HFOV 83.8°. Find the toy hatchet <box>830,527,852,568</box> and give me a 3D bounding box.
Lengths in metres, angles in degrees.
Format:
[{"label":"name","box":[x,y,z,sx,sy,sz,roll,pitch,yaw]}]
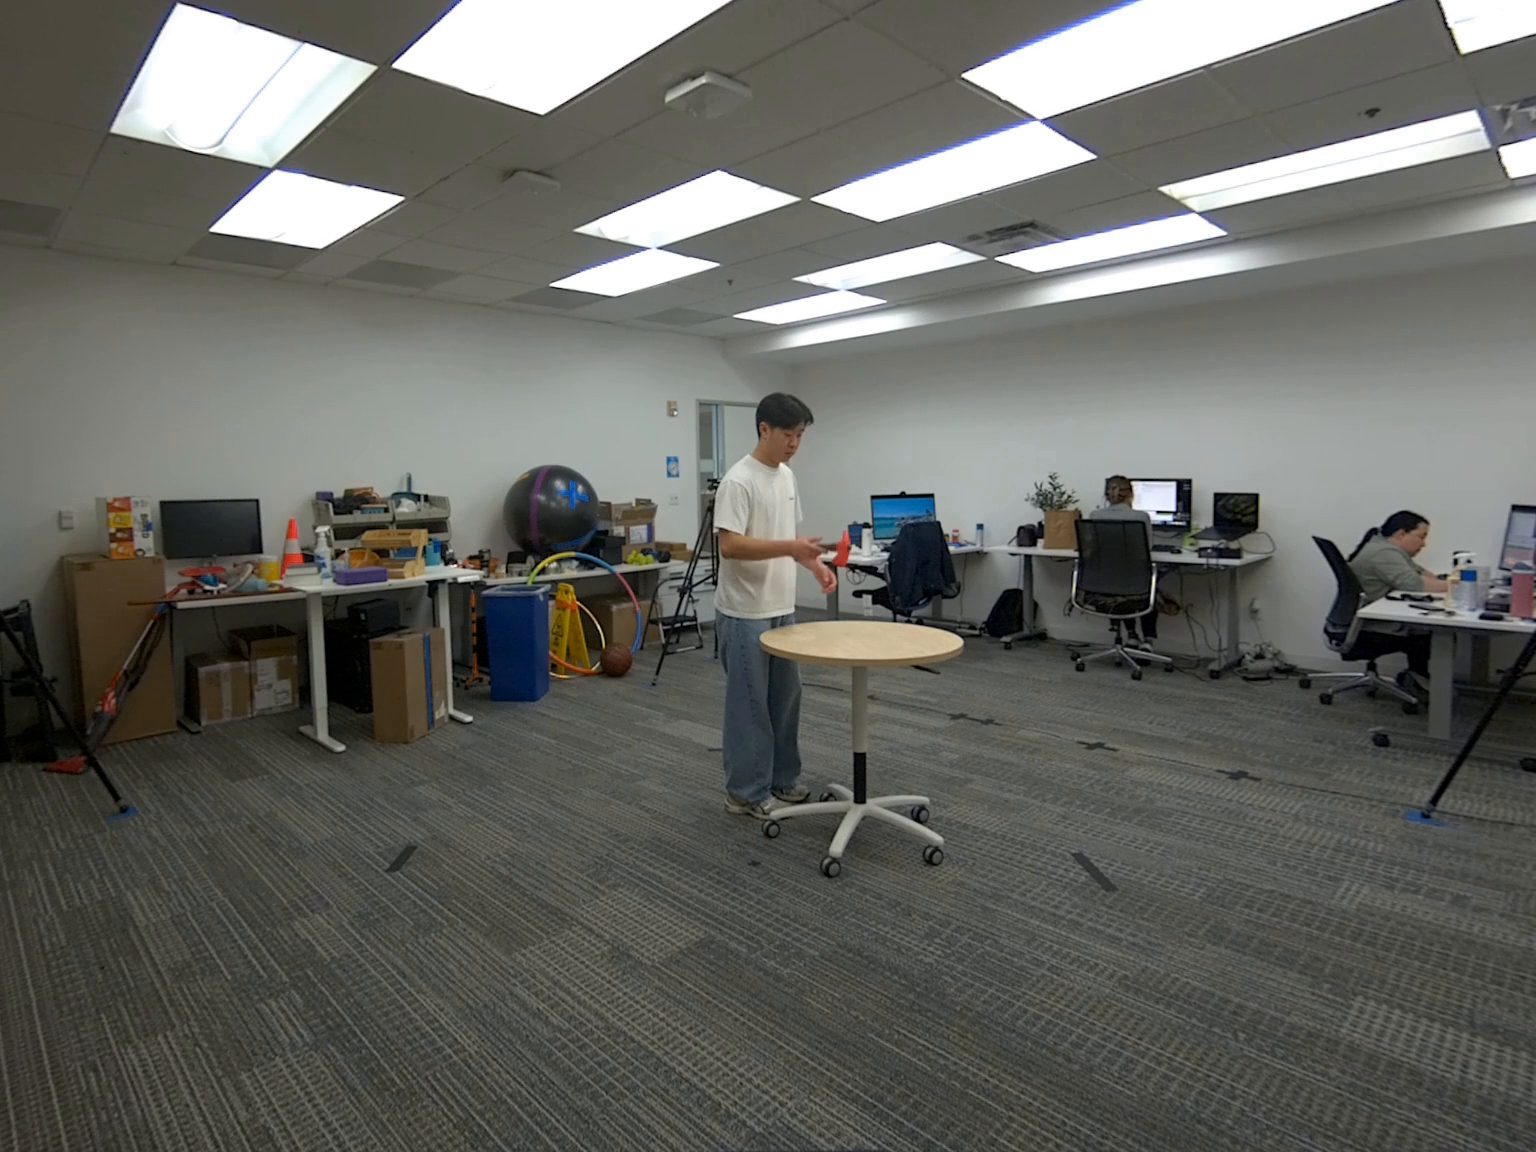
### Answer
[{"label":"toy hatchet","box":[0.222,-0.050,3.217,0.274,0.130,0.029,-24,8,40]}]
